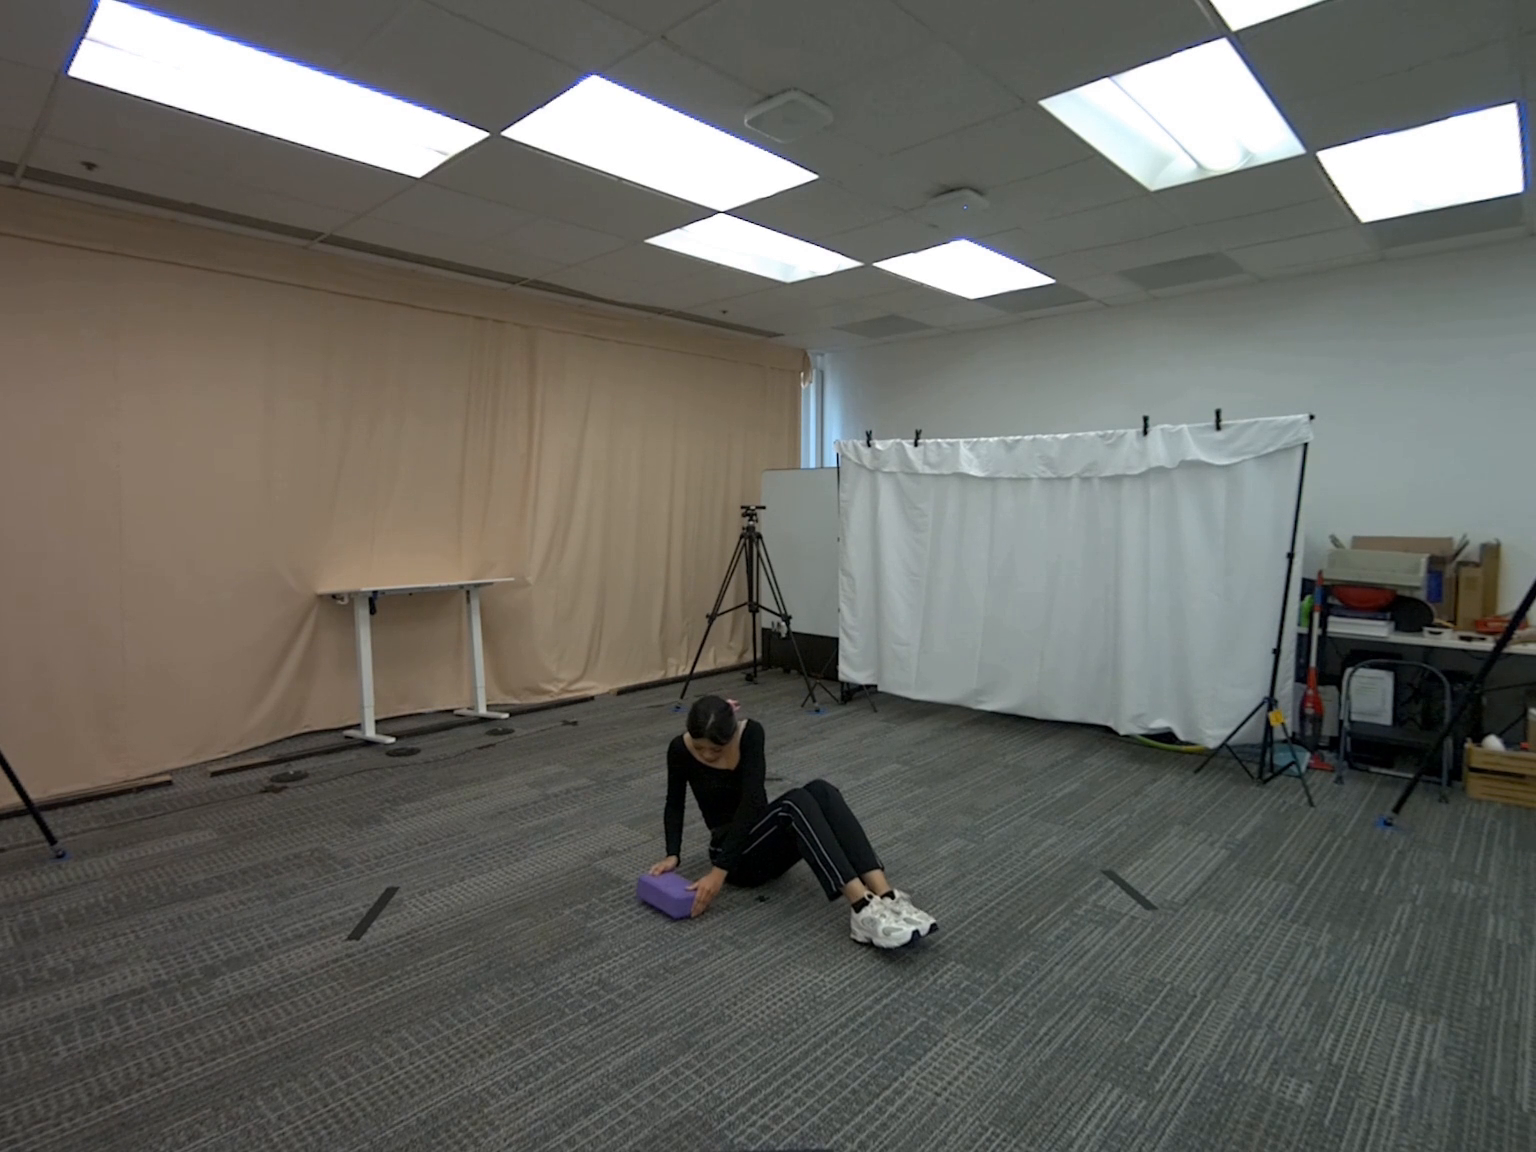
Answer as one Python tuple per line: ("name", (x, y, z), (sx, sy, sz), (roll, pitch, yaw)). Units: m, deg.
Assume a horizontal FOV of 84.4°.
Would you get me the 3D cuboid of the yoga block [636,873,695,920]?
("yoga block", (-0.330, 1.099, 2.940), (0.237, 0.076, 0.144), (5, -1, 45))
